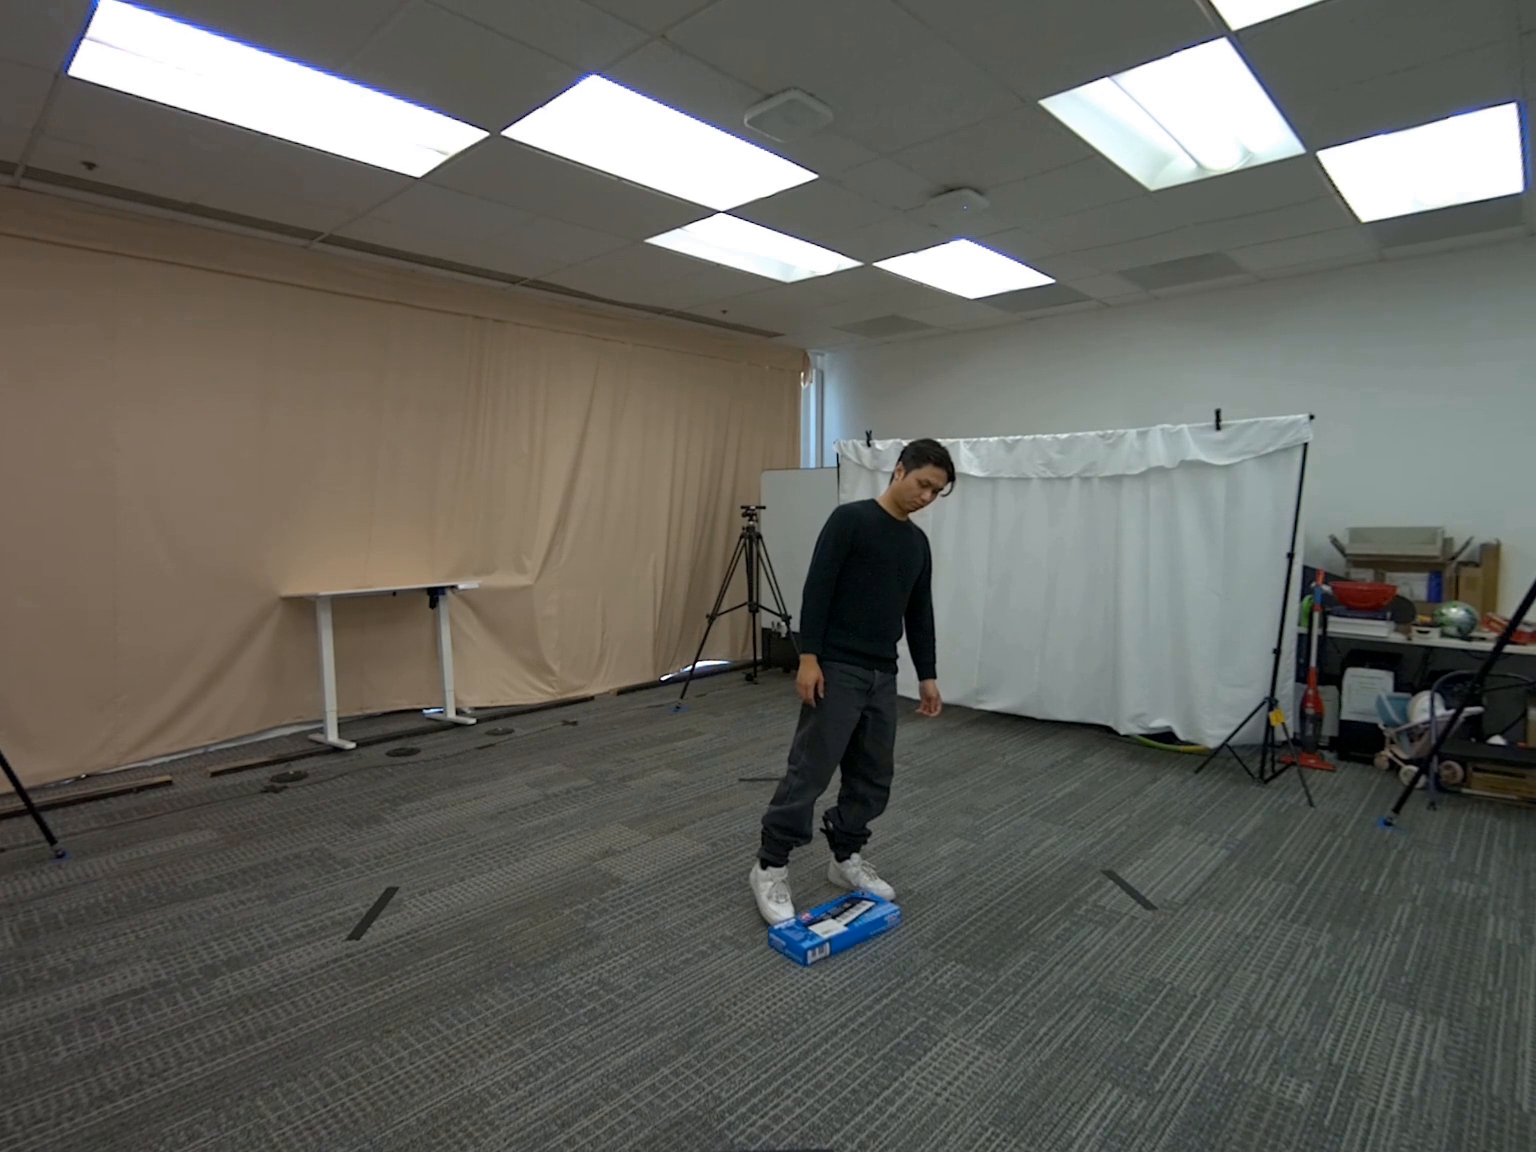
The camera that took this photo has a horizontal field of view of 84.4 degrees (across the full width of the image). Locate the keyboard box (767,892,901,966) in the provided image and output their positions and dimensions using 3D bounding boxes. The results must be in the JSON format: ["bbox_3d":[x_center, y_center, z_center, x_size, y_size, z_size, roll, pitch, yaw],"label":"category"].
[{"bbox_3d":[0.231,1.137,2.724,0.424,0.059,0.182,-4,6,-38],"label":"keyboard box"}]
